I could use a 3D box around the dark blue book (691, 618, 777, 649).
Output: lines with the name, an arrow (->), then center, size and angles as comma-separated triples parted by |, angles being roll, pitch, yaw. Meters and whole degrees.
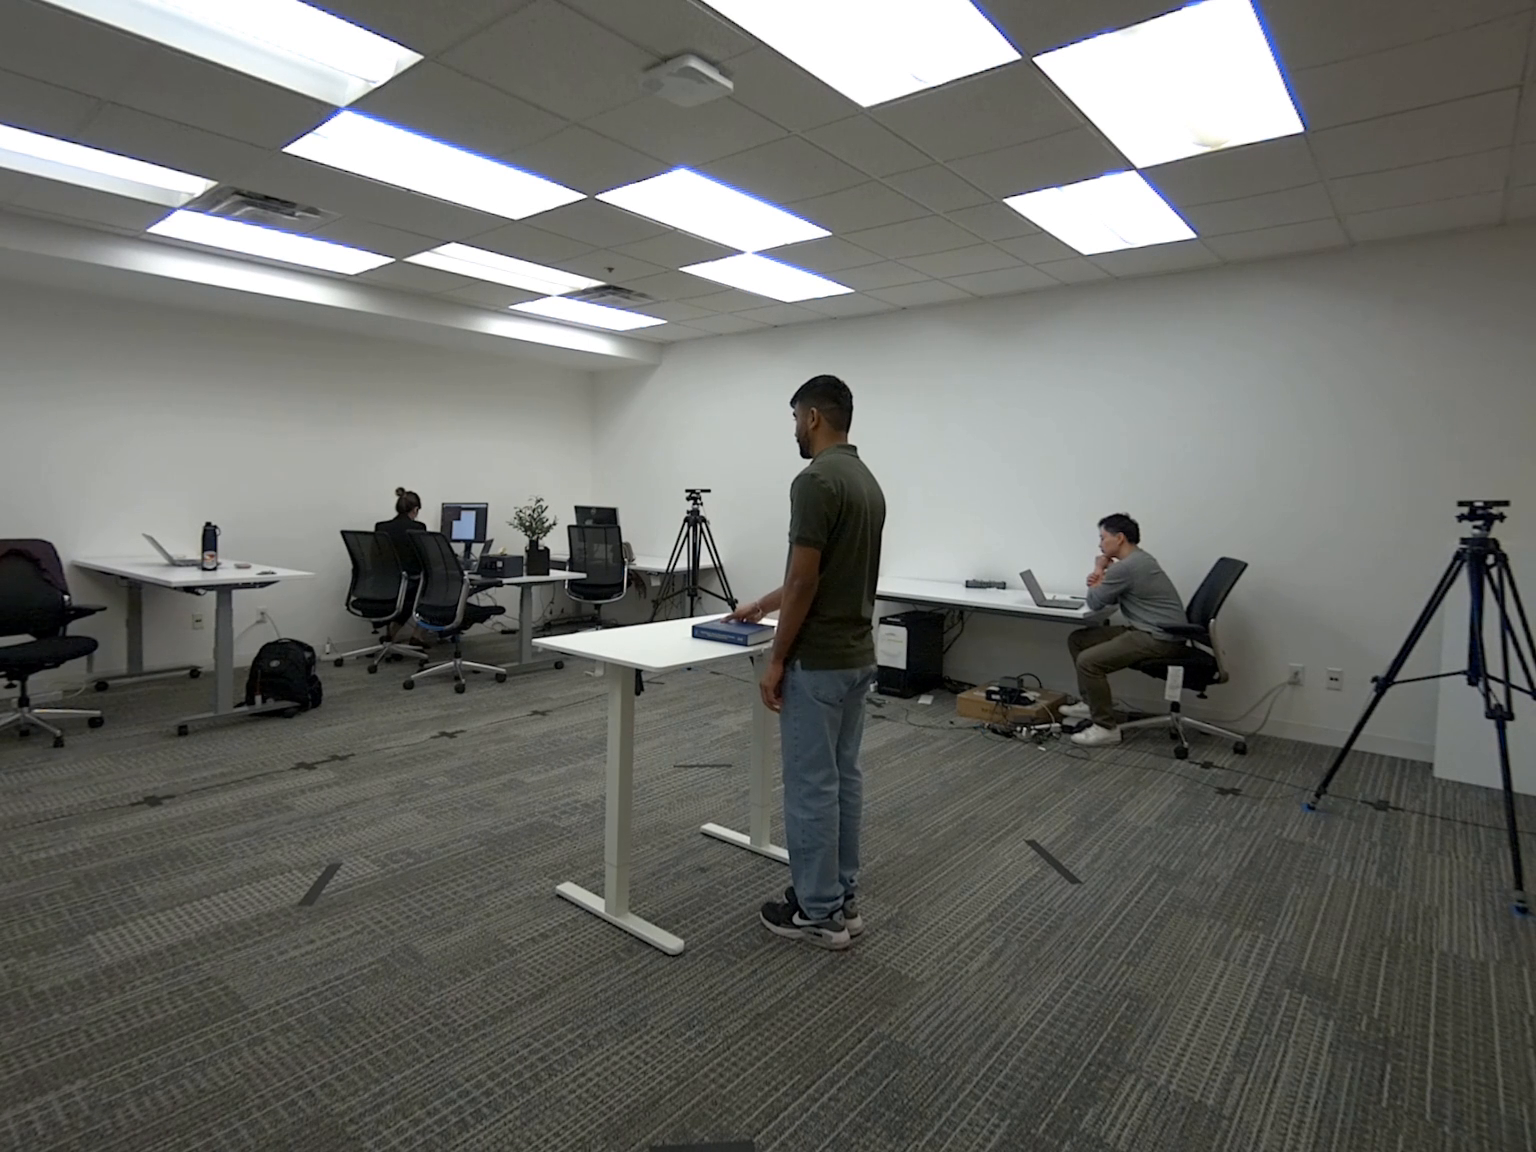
dark blue book -> -0.116, 0.193, 2.888 | 0.253, 0.045, 0.159 | 5, 10, 36
